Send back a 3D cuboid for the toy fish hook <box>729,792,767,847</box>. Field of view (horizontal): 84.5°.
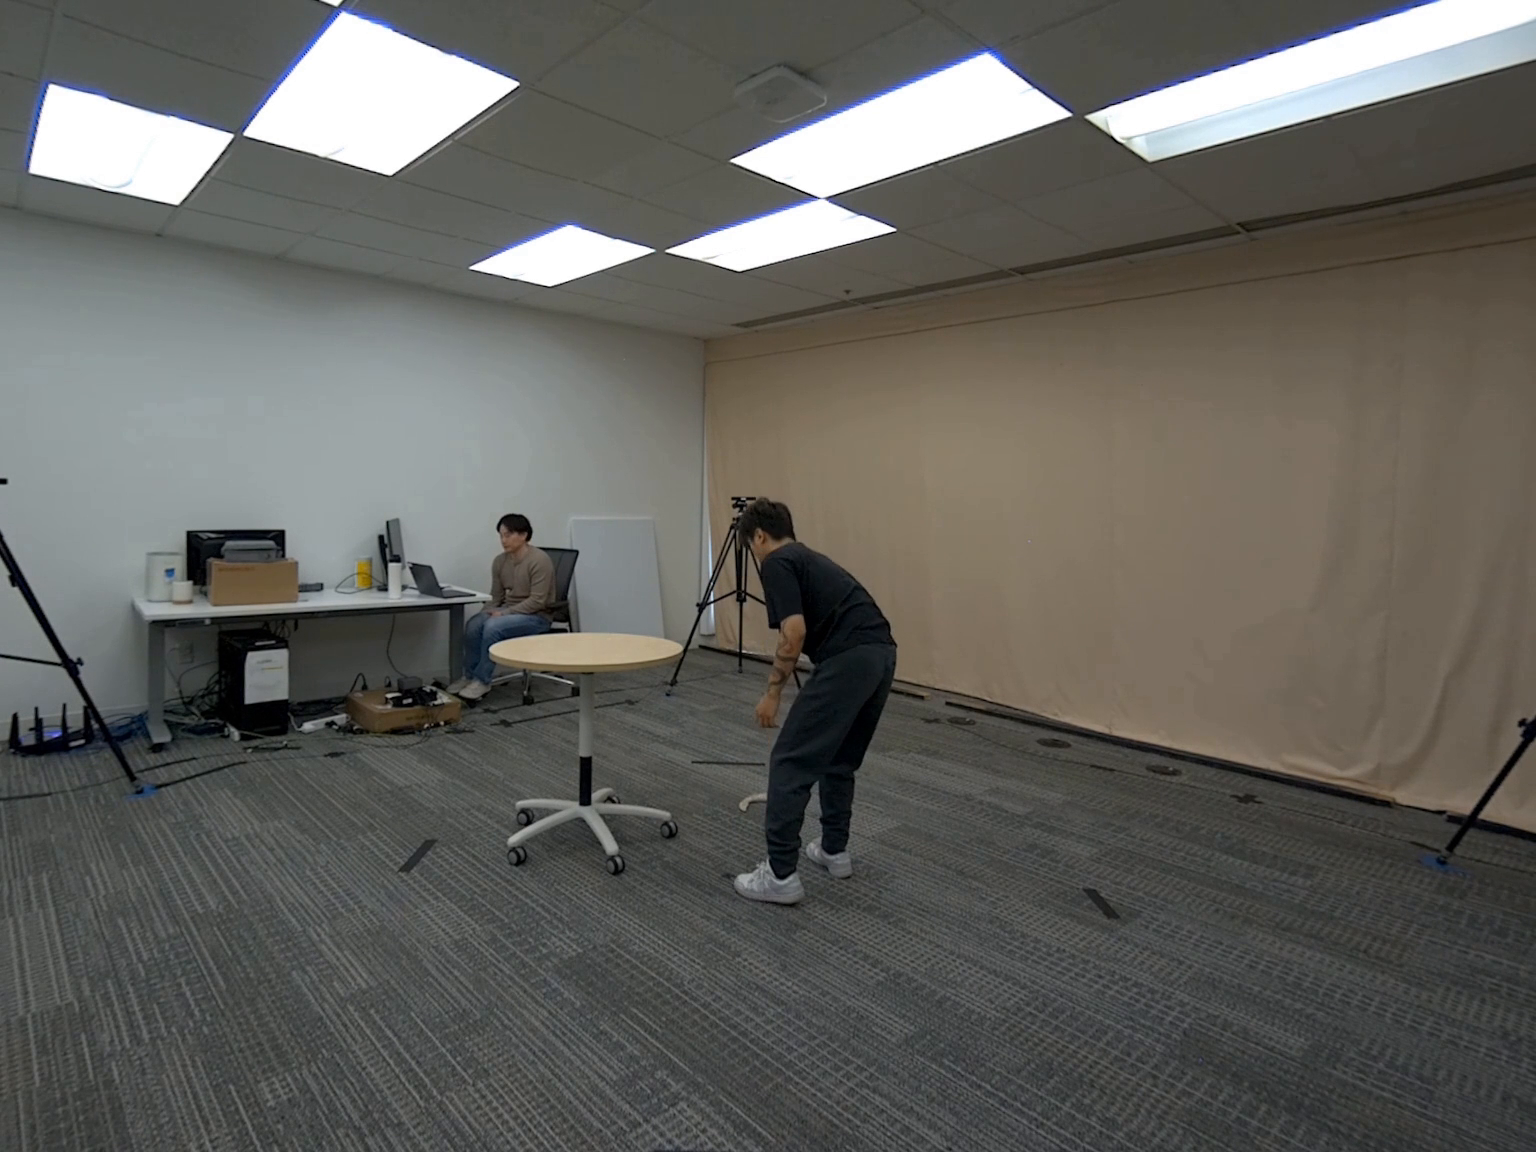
[{"bbox_3d":[-0.028,1.048,3.684,0.225,0.048,0.505,-6,4,4],"label":"toy fish hook"}]
